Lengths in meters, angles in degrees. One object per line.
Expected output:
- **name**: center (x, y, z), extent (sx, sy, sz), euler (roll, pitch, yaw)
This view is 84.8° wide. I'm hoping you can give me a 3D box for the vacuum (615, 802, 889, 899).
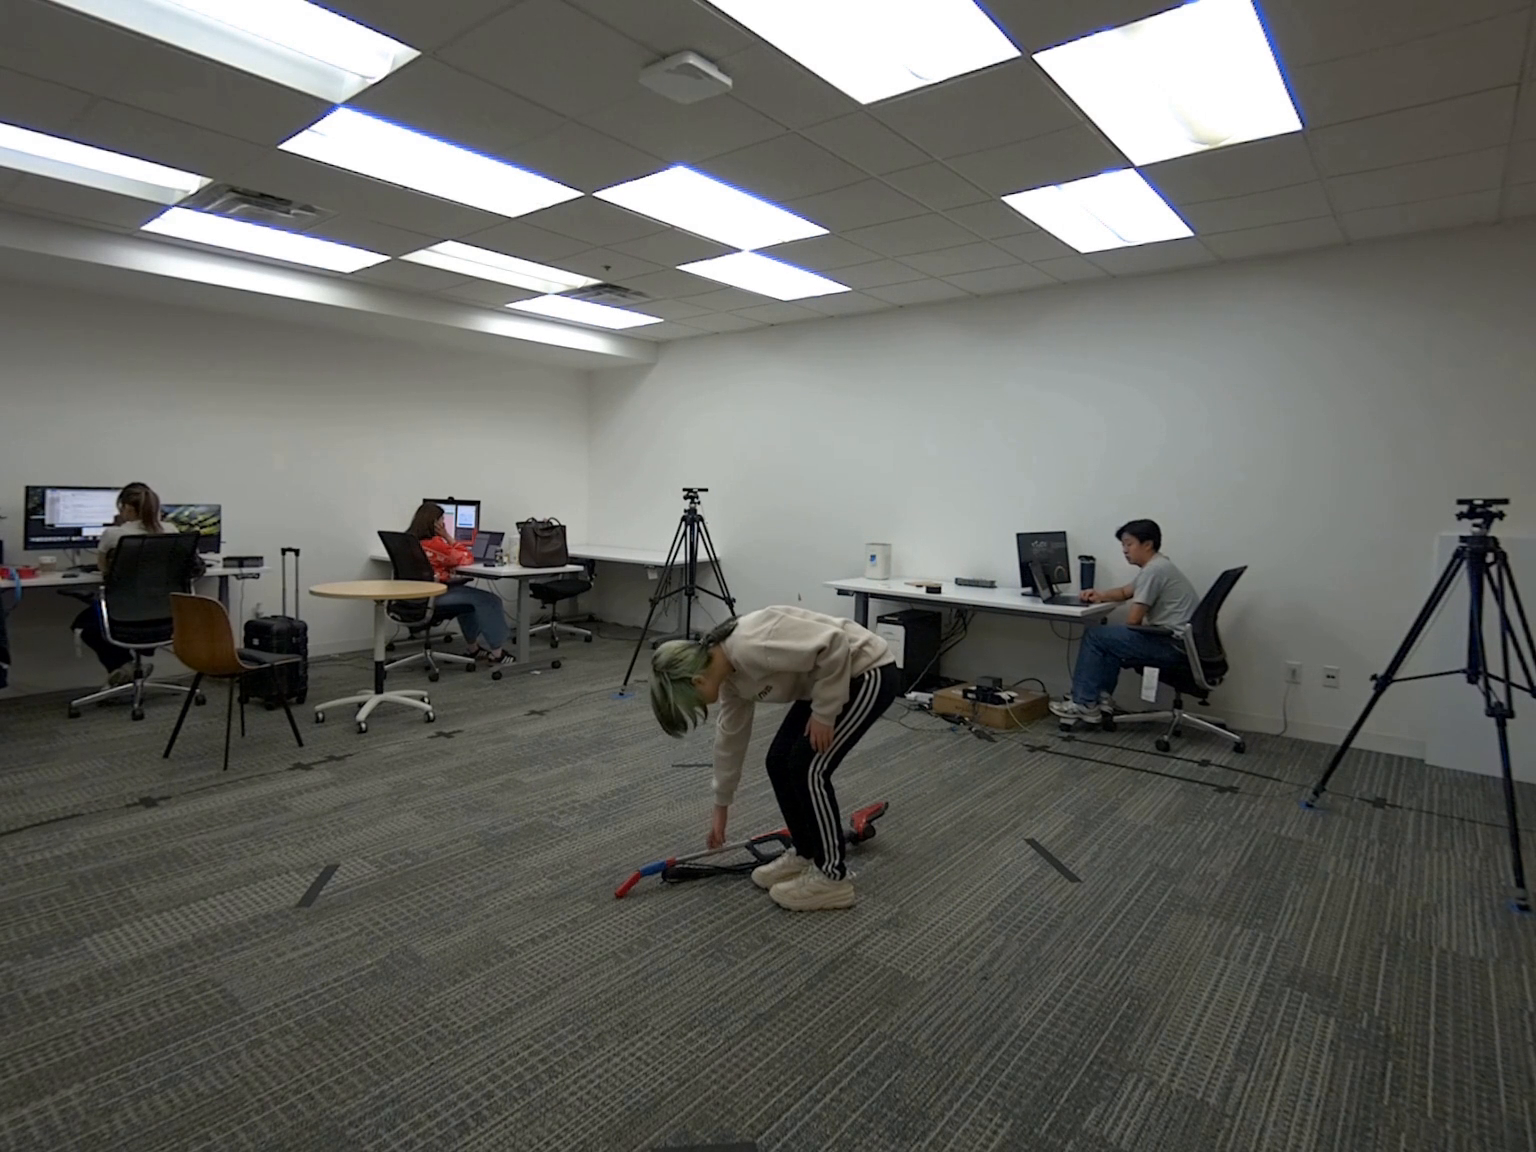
- **vacuum**: center (-0.064, 1.018, 3.128), extent (1.025, 0.148, 0.252), euler (-6, -24, -27)
